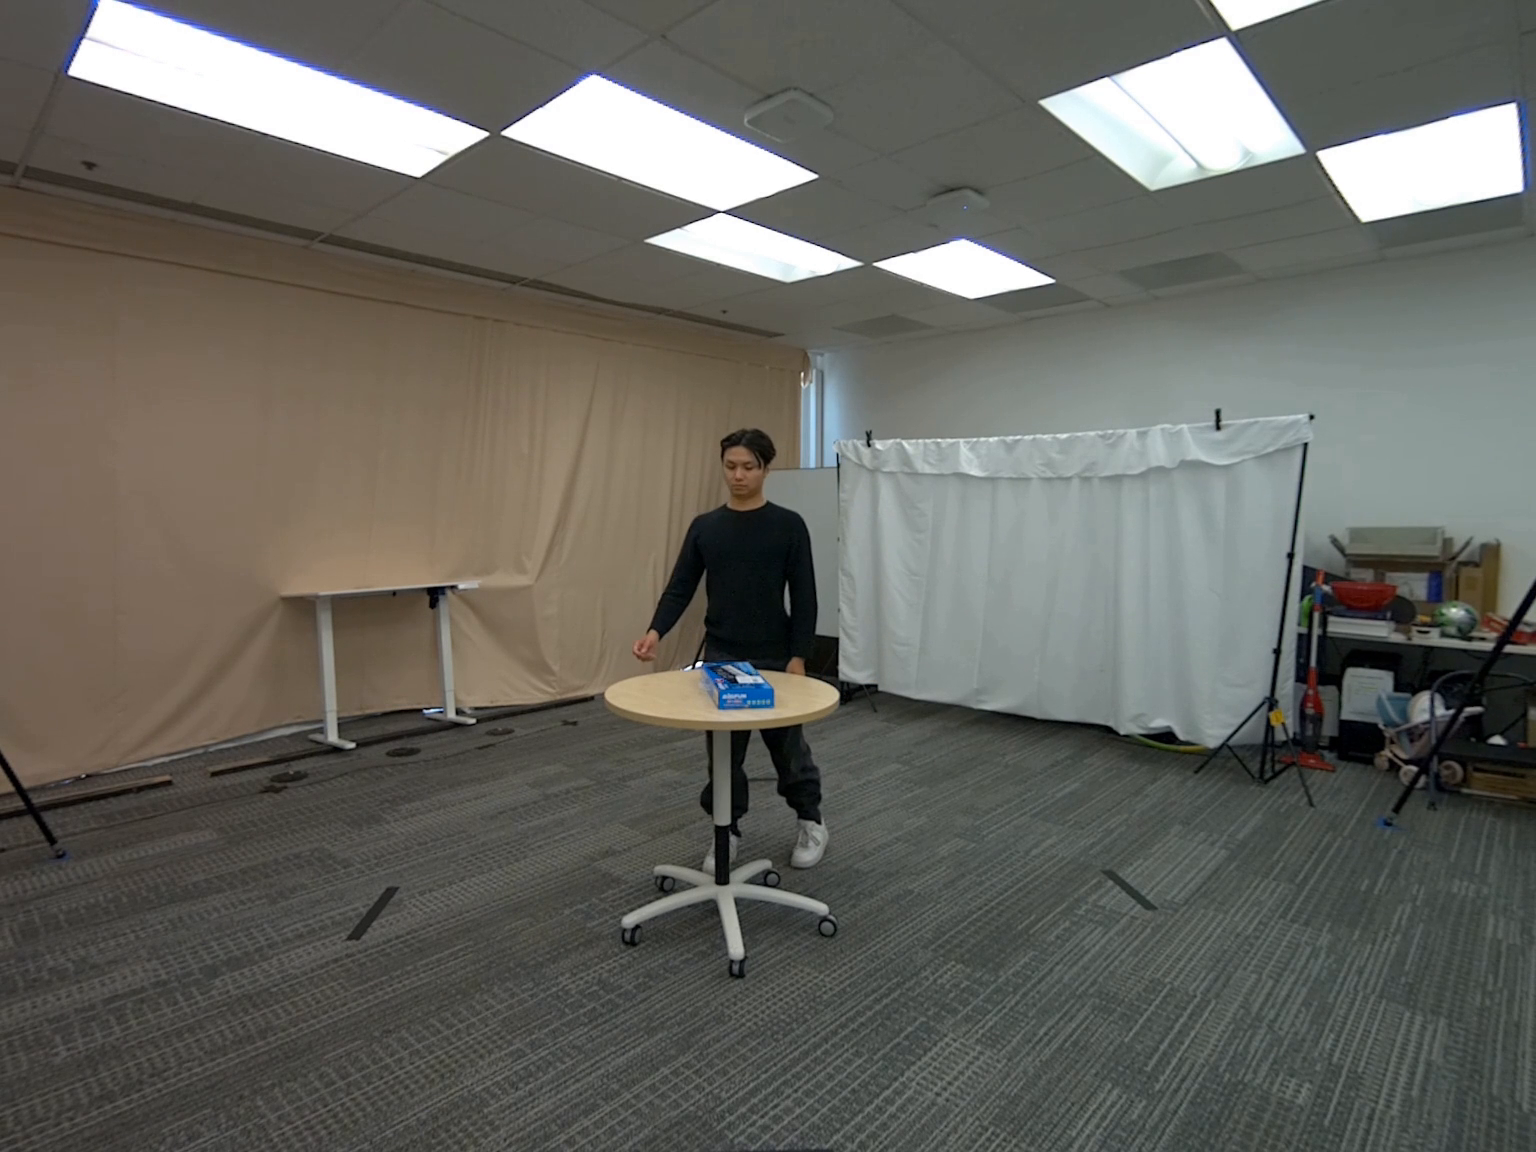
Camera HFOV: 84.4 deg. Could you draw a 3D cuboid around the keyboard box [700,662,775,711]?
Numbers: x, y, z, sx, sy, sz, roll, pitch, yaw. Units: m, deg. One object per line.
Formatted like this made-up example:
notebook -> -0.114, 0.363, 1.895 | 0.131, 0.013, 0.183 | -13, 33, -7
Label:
keyboard box -> -0.104, 0.350, 2.741 | 0.174, 0.059, 0.443 | 0, 5, -11
